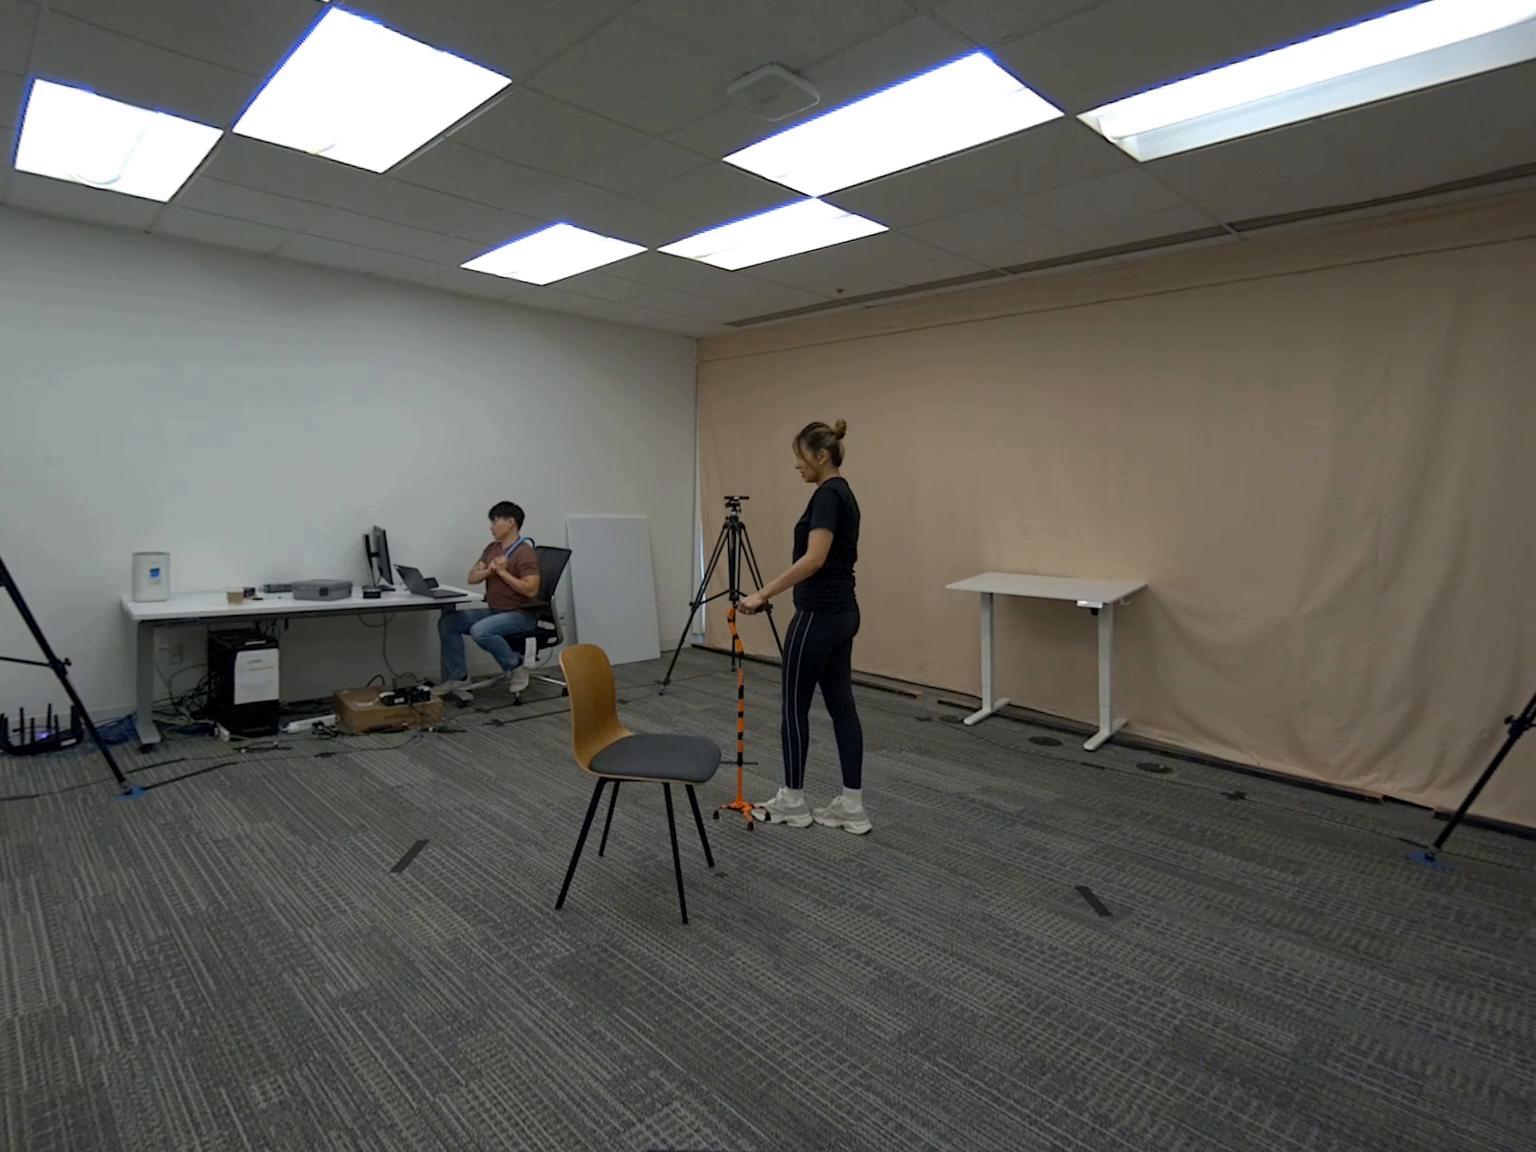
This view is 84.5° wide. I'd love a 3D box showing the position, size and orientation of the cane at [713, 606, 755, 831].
[{"bbox_3d":[-0.110,0.564,3.446,0.212,0.904,0.148,6,7,39],"label":"cane"}]
